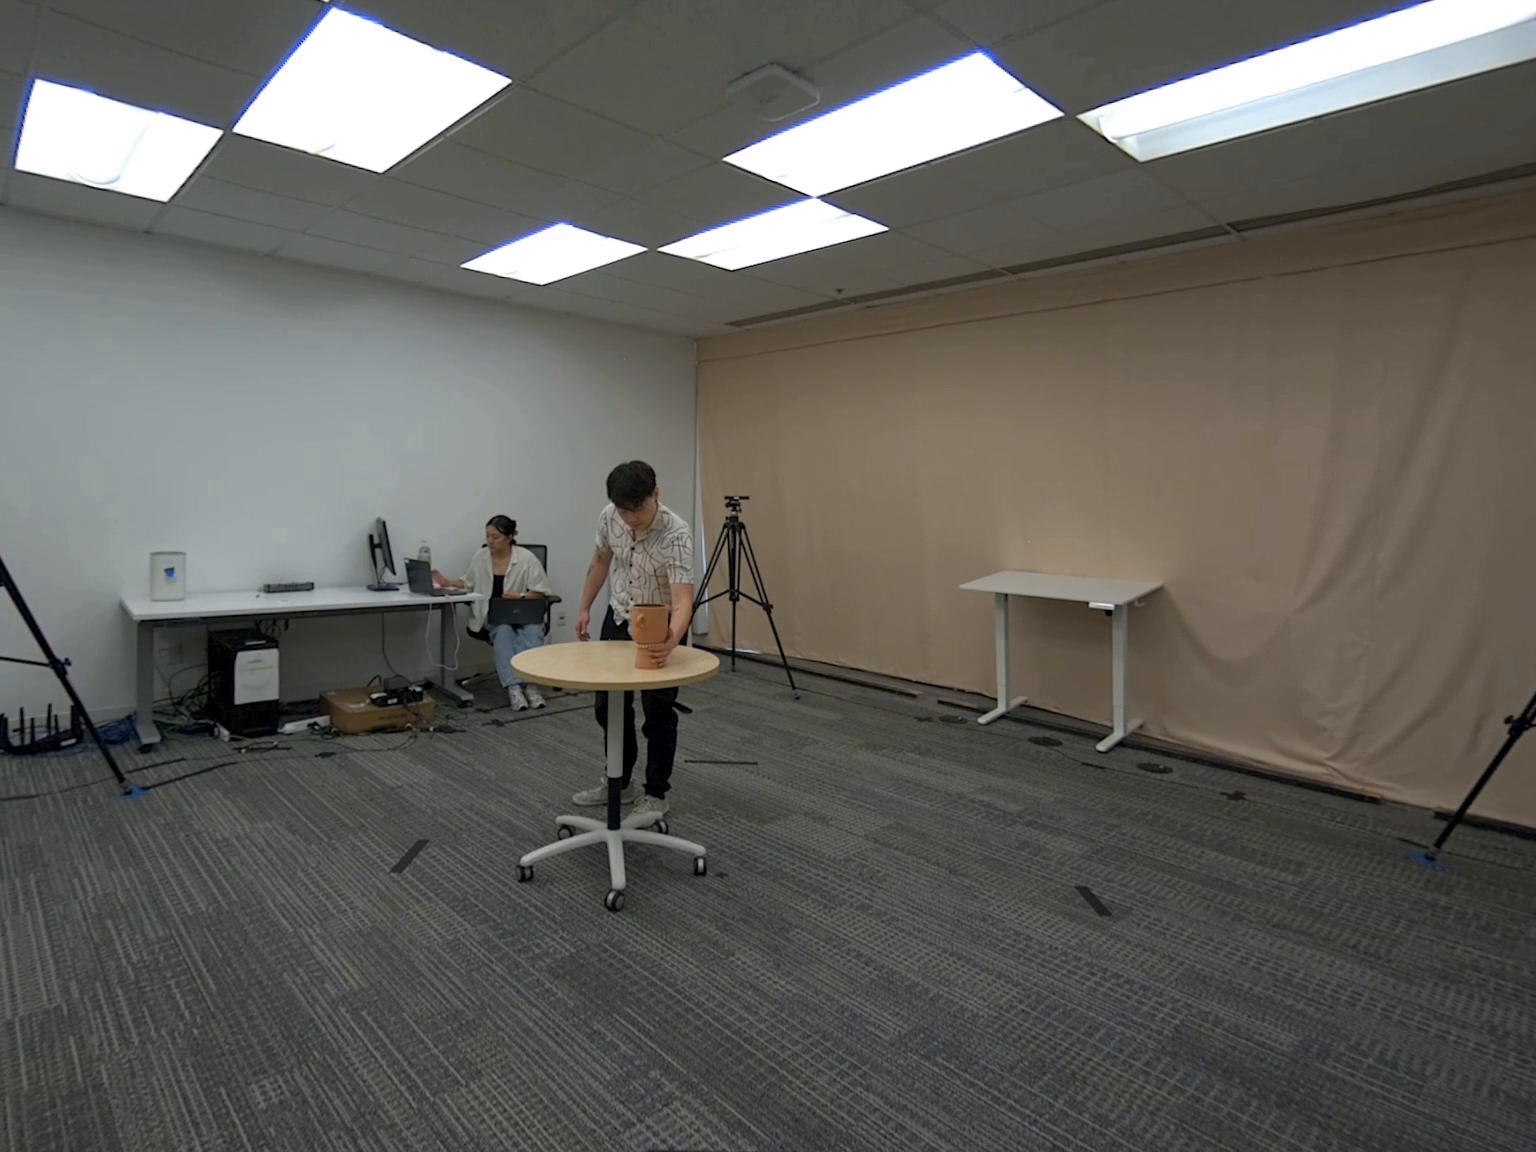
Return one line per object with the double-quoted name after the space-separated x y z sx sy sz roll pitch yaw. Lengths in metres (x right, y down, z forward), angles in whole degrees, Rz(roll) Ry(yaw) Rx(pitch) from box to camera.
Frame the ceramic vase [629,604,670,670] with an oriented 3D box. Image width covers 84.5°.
-0.441 0.215 3.003 0.155 0.219 0.138 -1 5 -37 "ceramic vase"
